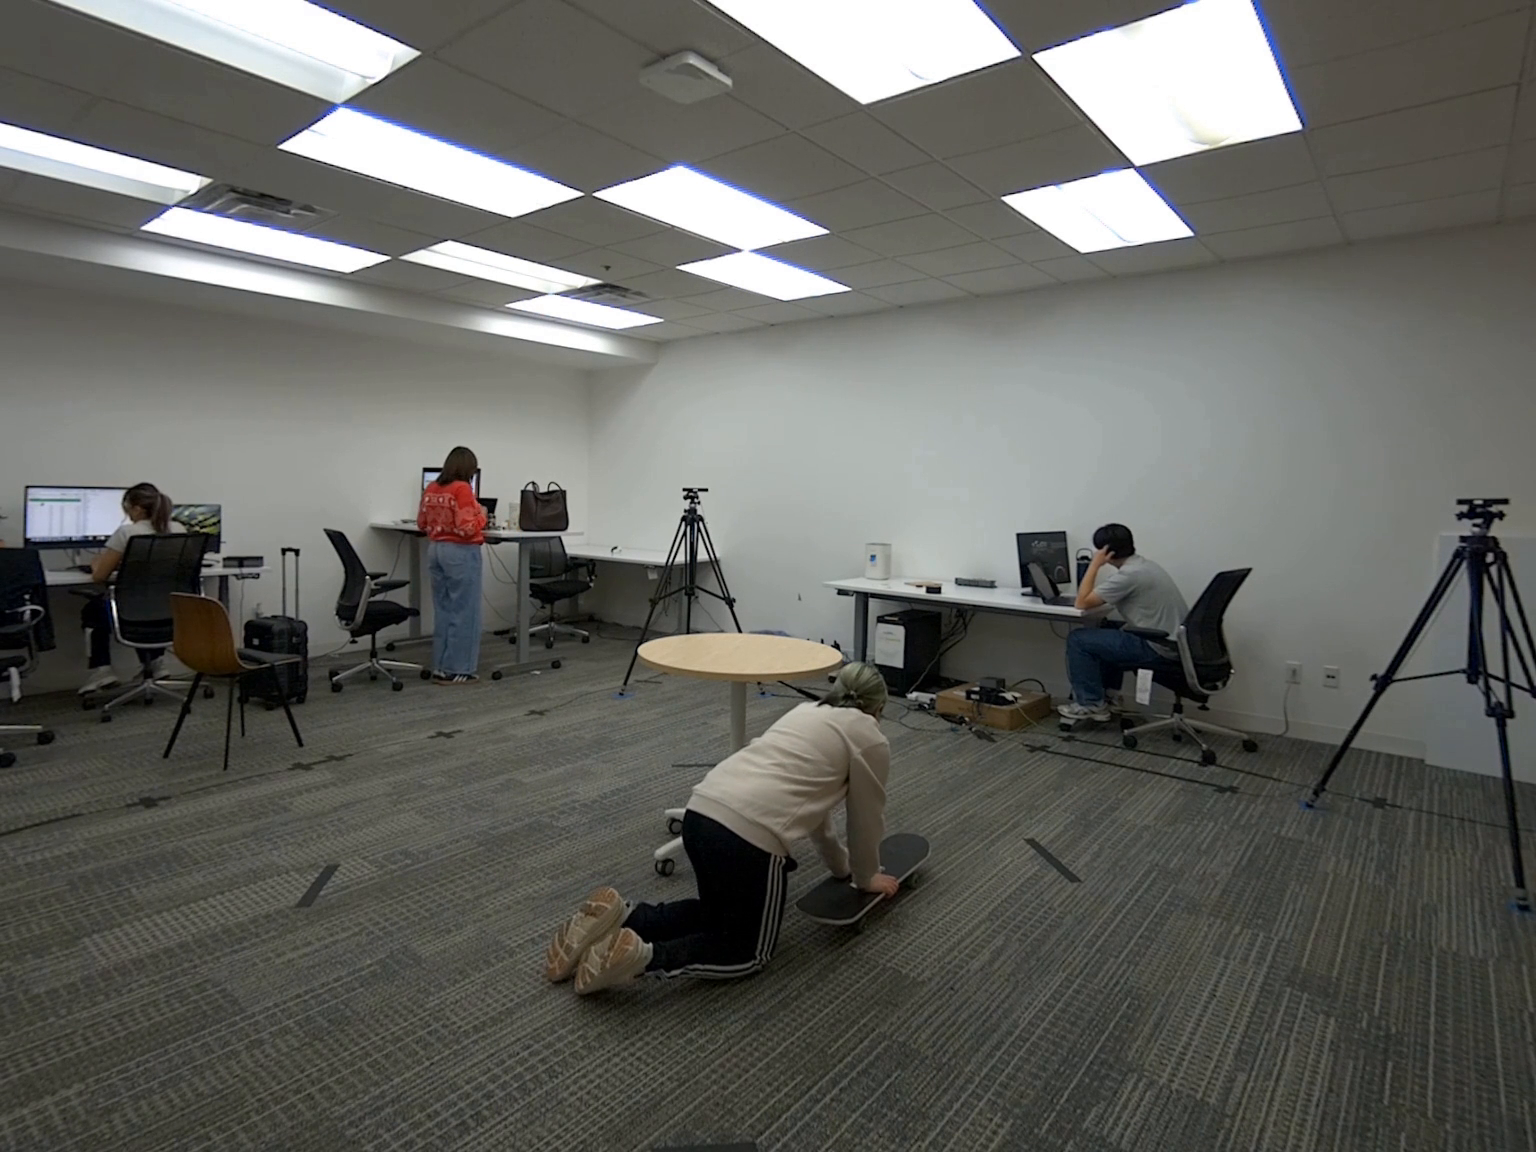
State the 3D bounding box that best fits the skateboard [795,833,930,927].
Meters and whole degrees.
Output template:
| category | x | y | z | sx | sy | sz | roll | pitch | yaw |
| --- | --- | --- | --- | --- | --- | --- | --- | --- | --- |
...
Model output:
| category | x | y | z | sx | sy | sz | roll | pitch | yaw |
| --- | --- | --- | --- | --- | --- | --- | --- | --- | --- |
| skateboard | 0.338 | 1.052 | 2.891 | 0.200 | 0.110 | 0.764 | 5 | 7 | 34 |
